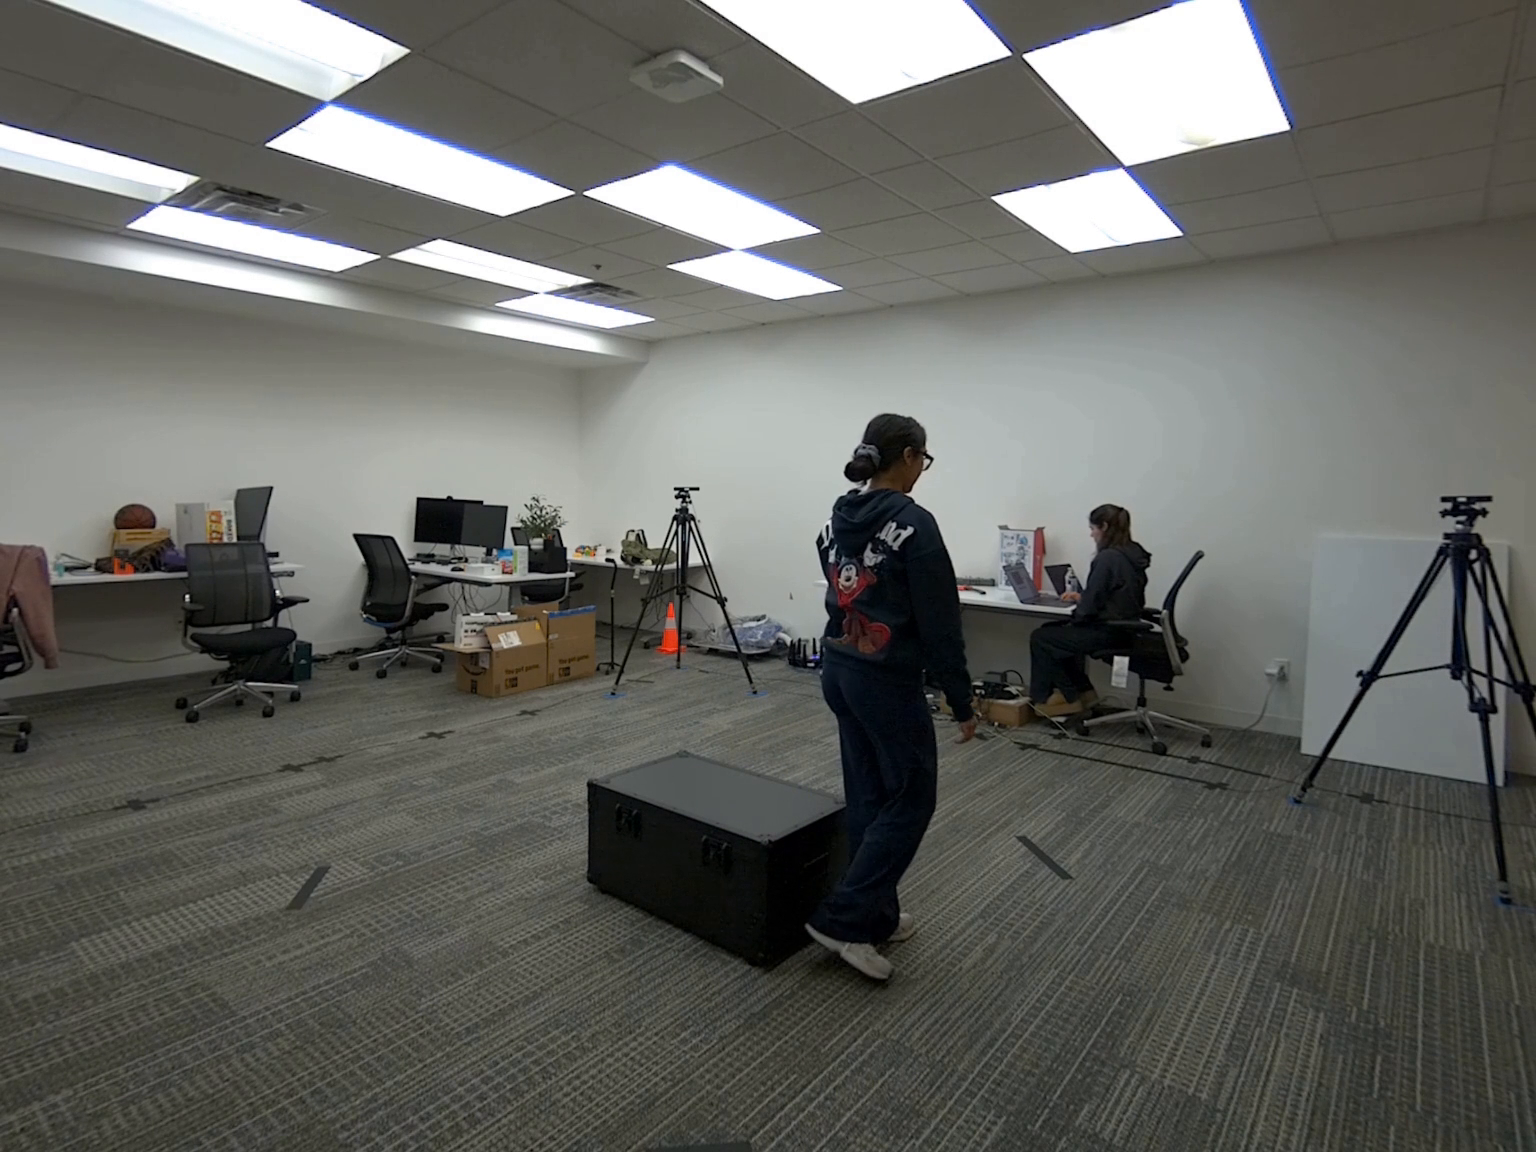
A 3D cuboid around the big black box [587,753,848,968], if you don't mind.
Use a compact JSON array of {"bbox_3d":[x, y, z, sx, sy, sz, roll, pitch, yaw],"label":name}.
[{"bbox_3d":[-0.203,0.898,2.879,0.891,0.395,0.506,6,6,38],"label":"big black box"}]
